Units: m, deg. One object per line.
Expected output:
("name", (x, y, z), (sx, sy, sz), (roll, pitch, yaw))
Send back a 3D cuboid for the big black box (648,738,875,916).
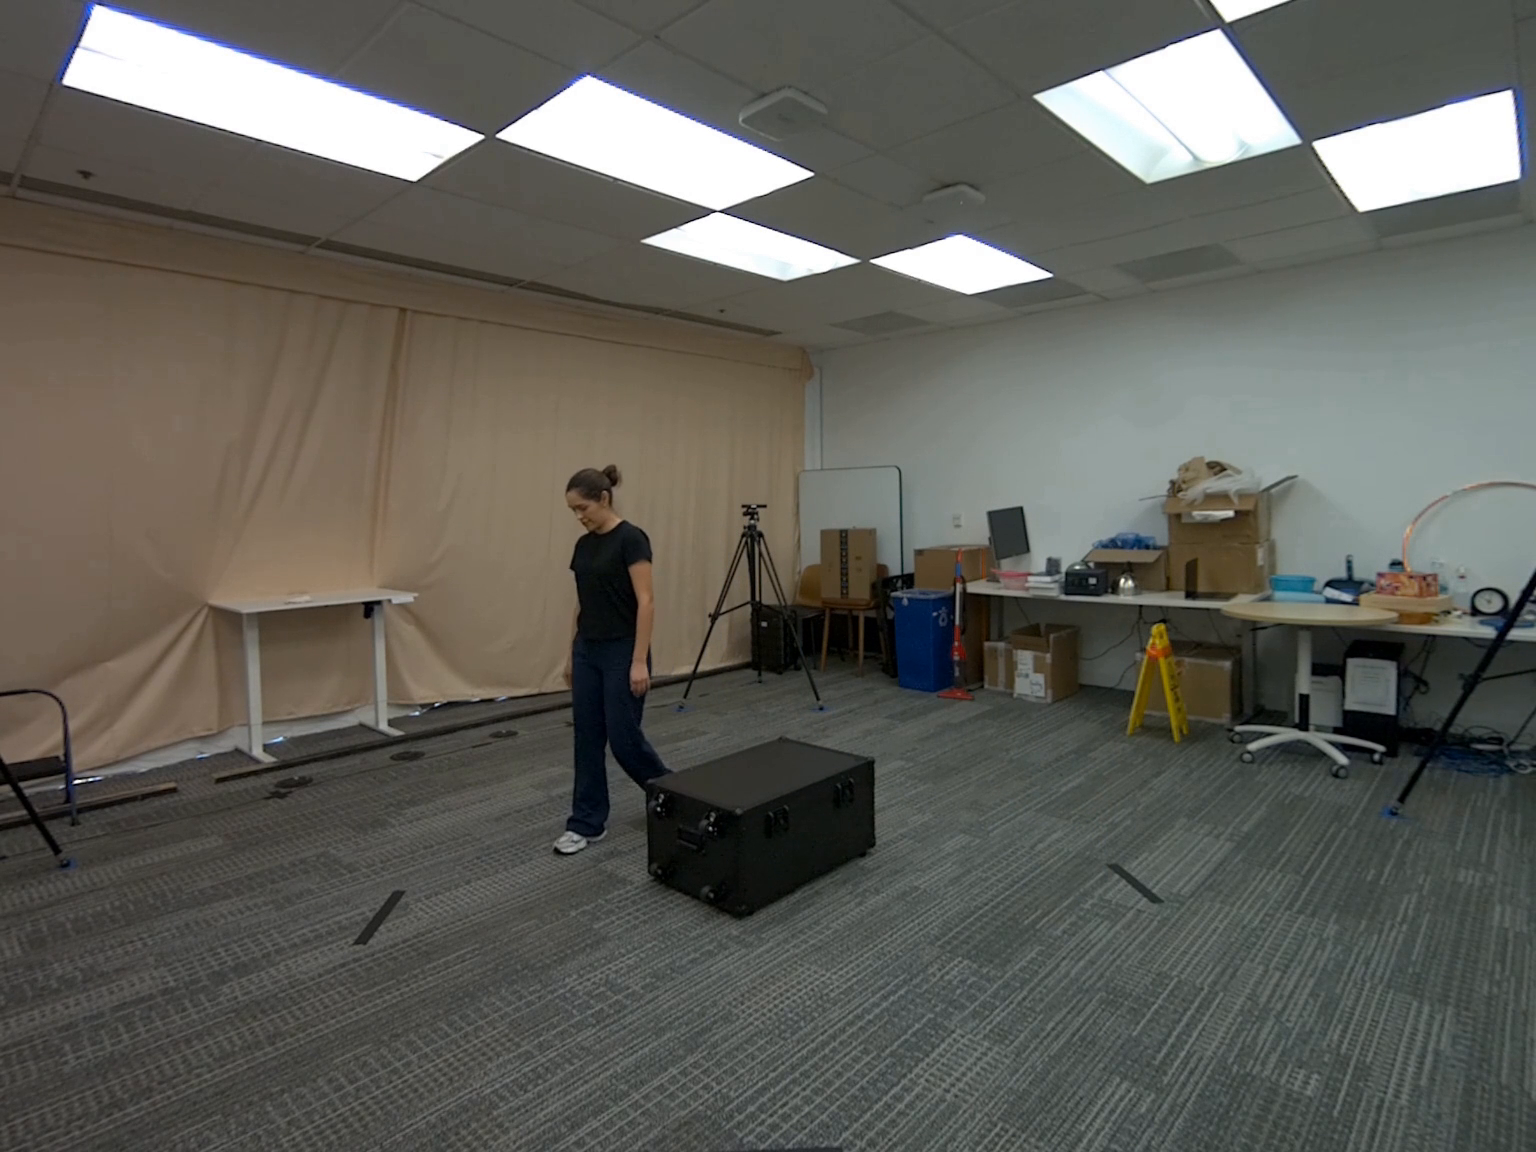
("big black box", (-0.020, 0.931, 3.215), (0.538, 0.395, 0.835), (2, 5, 43))
